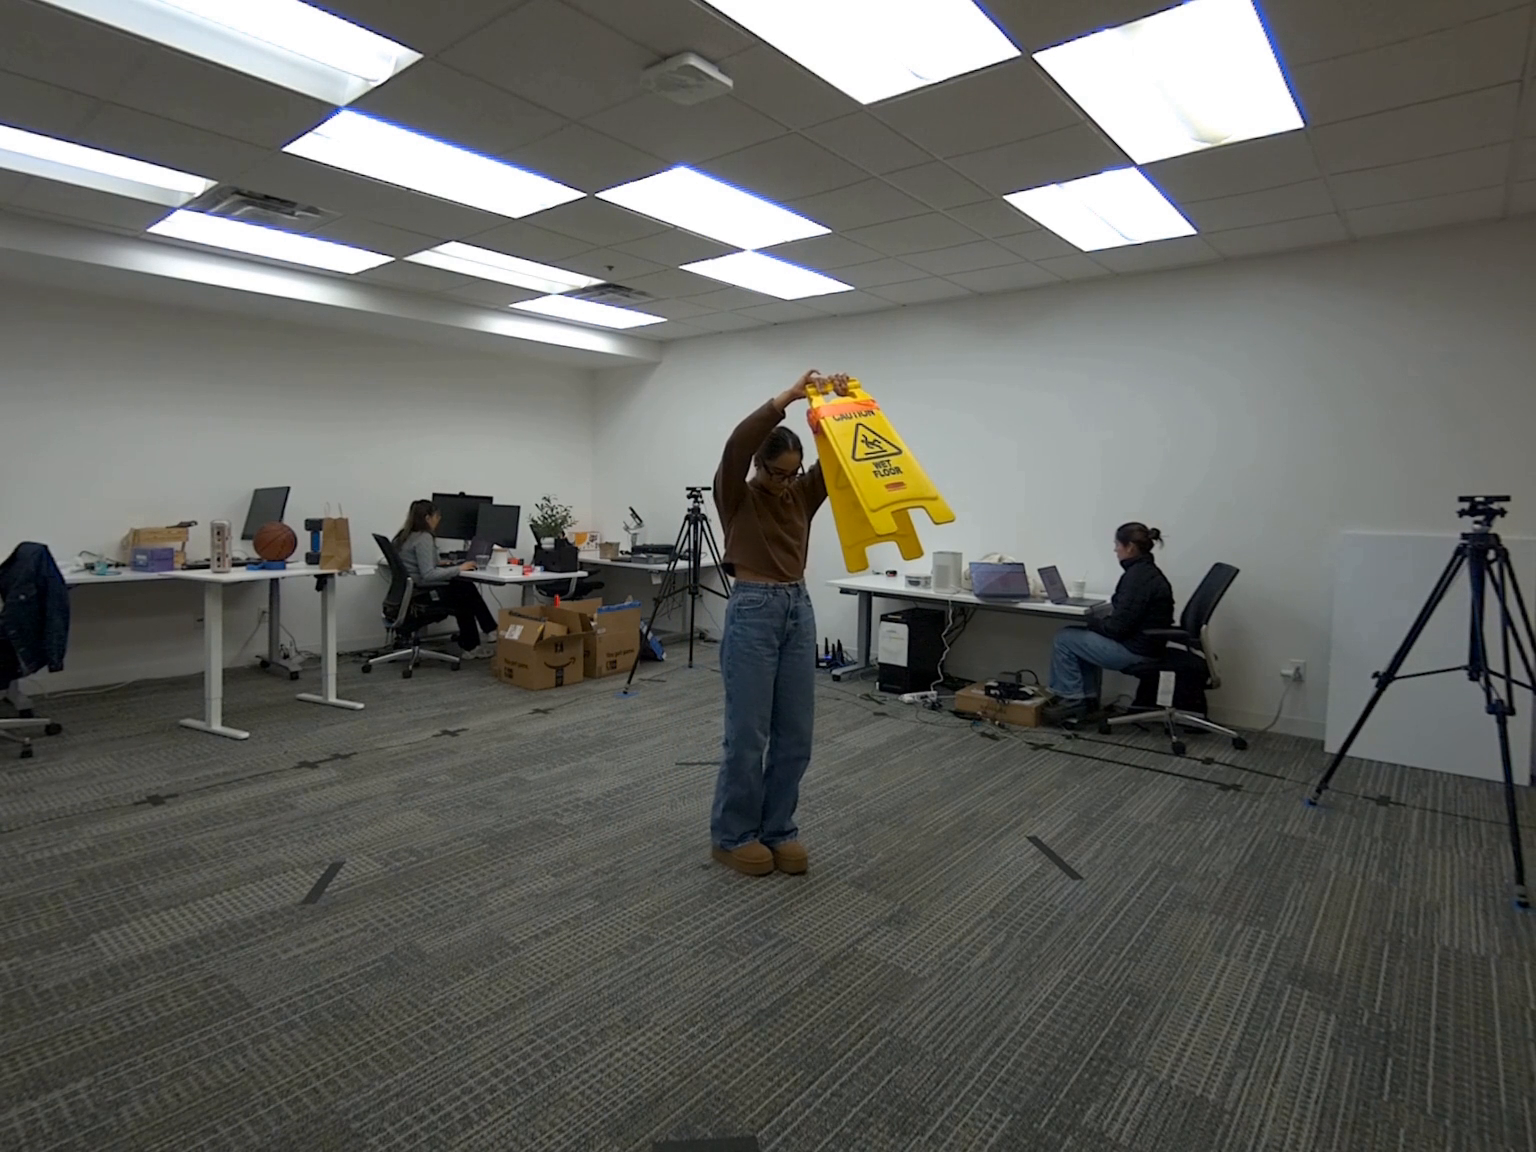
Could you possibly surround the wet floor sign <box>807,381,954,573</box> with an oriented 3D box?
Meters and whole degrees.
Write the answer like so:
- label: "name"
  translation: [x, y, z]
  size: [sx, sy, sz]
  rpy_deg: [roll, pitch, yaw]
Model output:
- label: "wet floor sign"
  translation: [0.302, -0.379, 2.790]
  size: [0.278, 0.663, 0.286]
  rpy_deg: [-10, -23, -16]
